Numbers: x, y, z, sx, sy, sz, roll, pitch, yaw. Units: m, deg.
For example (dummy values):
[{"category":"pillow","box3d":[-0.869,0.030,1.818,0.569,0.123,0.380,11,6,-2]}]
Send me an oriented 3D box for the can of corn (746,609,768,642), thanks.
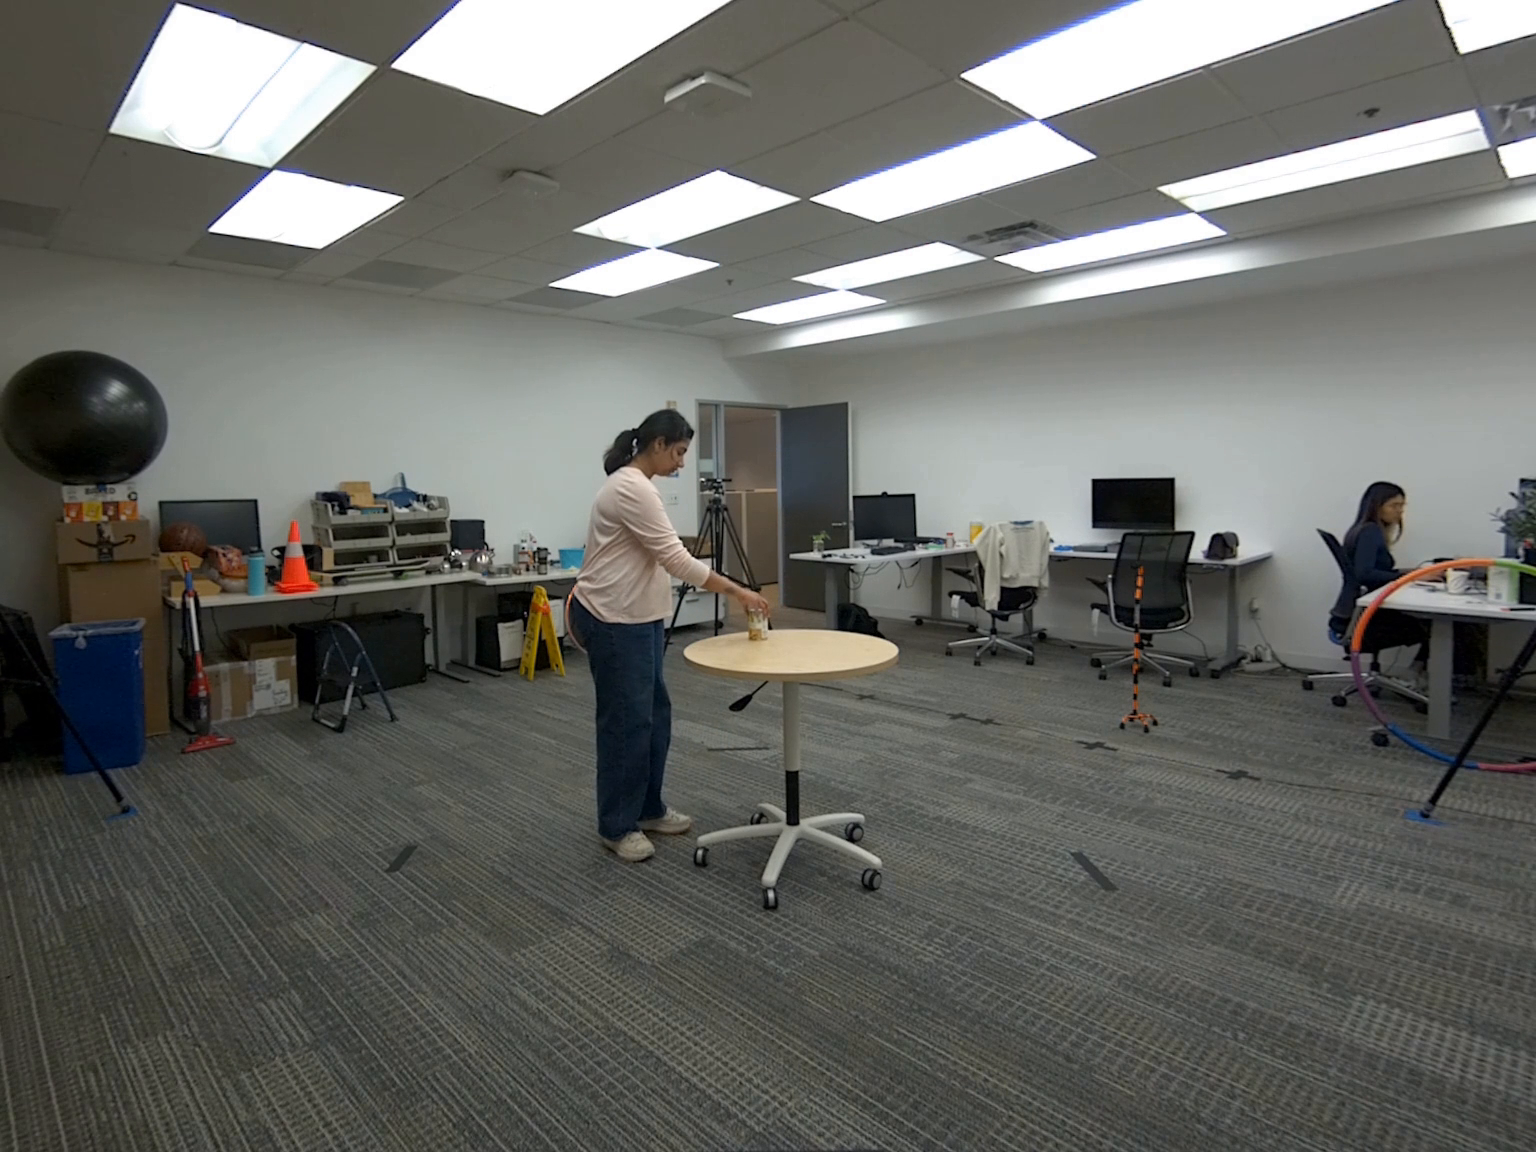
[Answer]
[{"category":"can of corn","box3d":[-0.040,0.185,3.264,0.074,0.111,0.074,-1,3,-2]}]
